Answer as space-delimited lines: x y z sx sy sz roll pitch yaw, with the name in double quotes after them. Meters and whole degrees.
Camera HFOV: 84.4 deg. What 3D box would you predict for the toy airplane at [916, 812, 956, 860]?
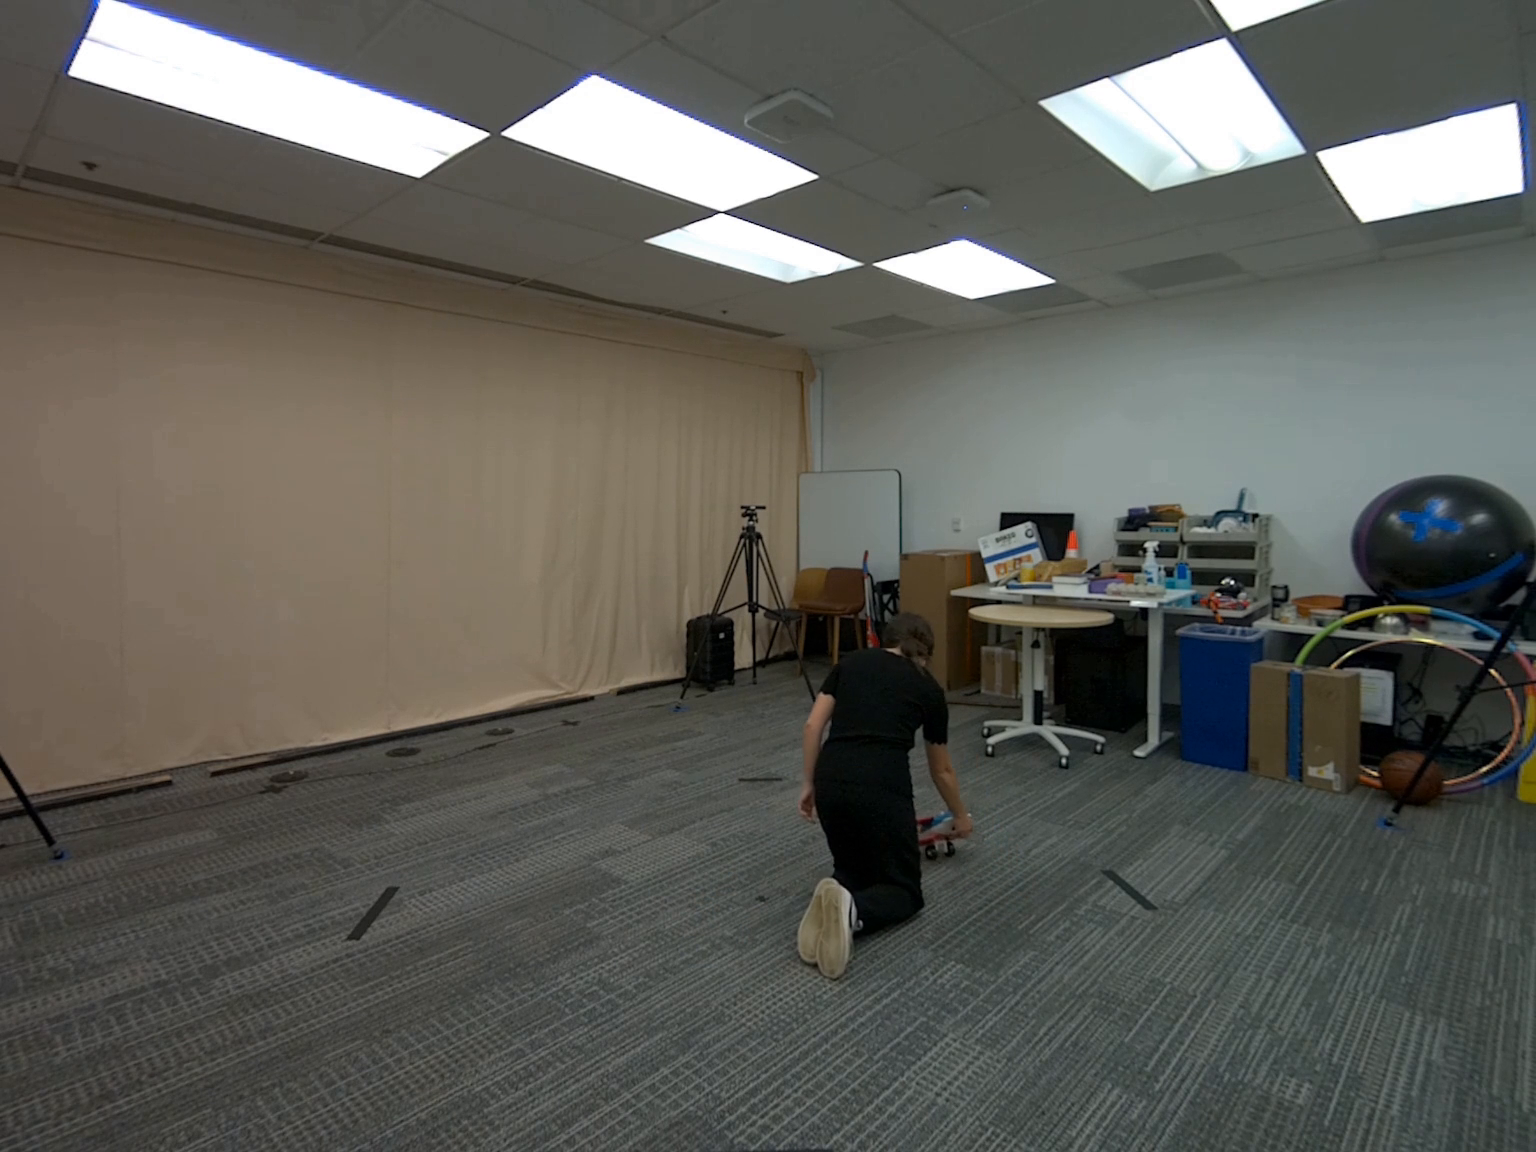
0.706 0.994 3.317 0.242 0.161 0.261 25 -60 -42 "toy airplane"
